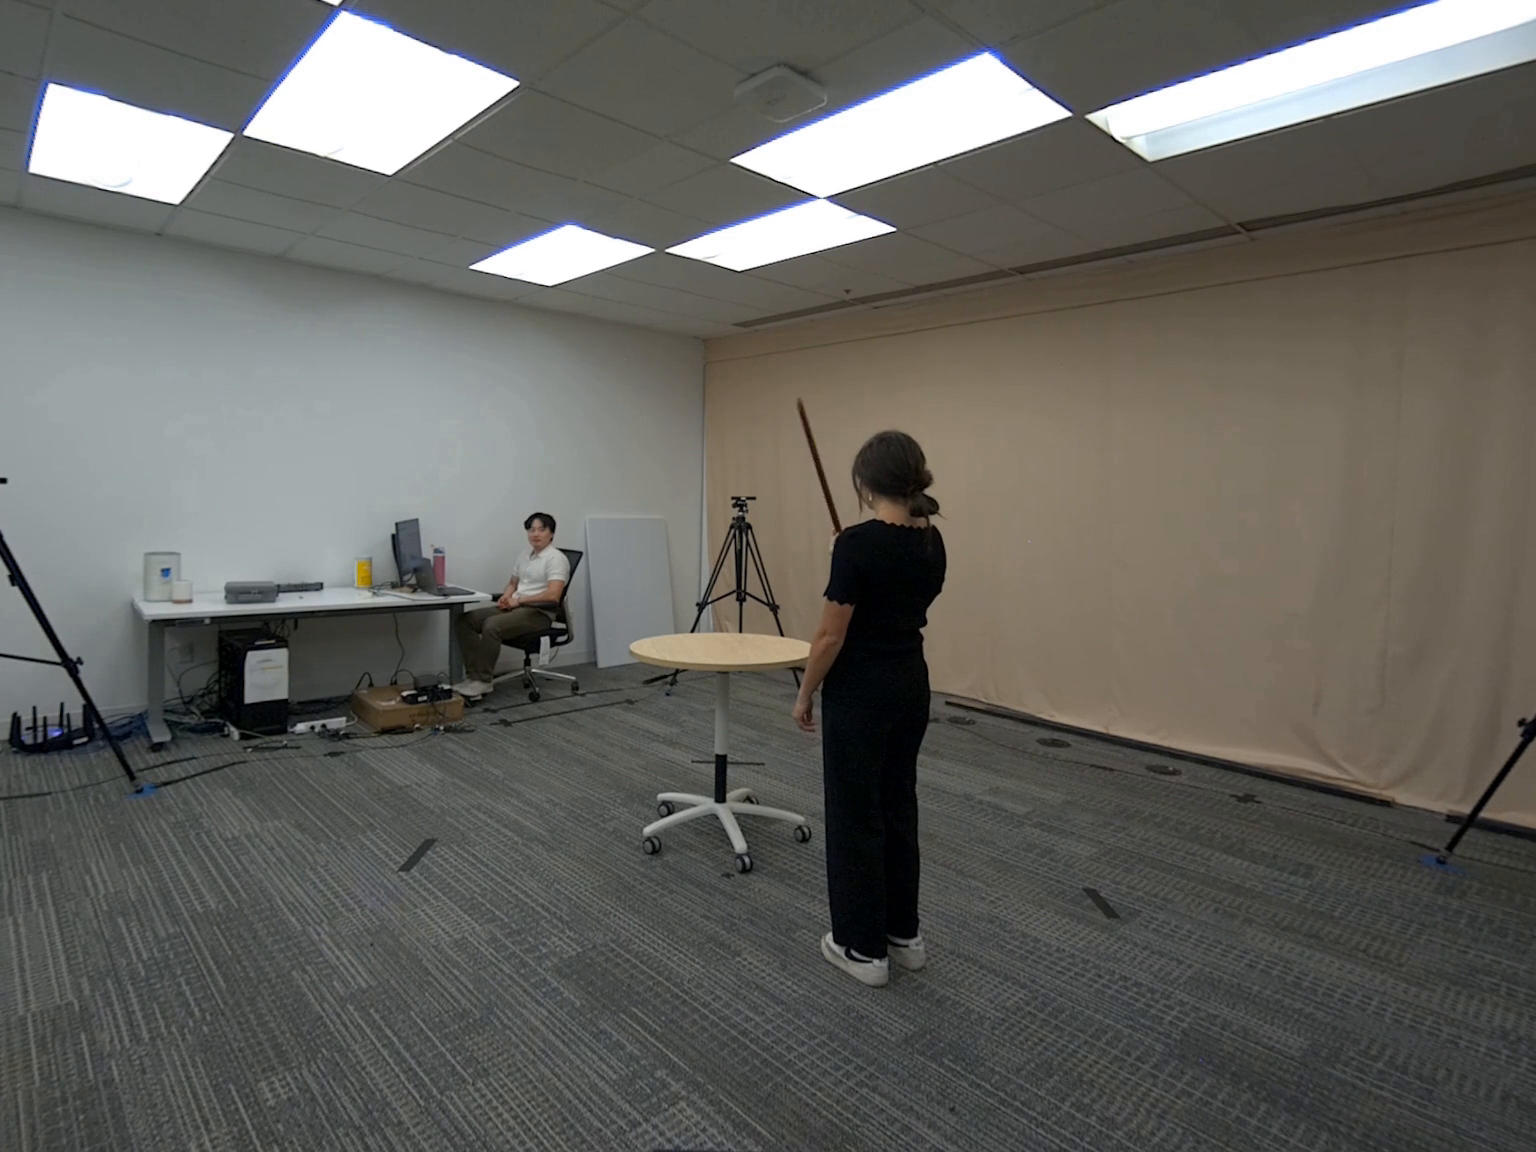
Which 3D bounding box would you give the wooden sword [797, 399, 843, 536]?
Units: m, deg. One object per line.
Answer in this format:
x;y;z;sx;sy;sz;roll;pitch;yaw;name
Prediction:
0.257;-0.132;2.908;0.051;1.002;0.024;-17;26;5;wooden sword
